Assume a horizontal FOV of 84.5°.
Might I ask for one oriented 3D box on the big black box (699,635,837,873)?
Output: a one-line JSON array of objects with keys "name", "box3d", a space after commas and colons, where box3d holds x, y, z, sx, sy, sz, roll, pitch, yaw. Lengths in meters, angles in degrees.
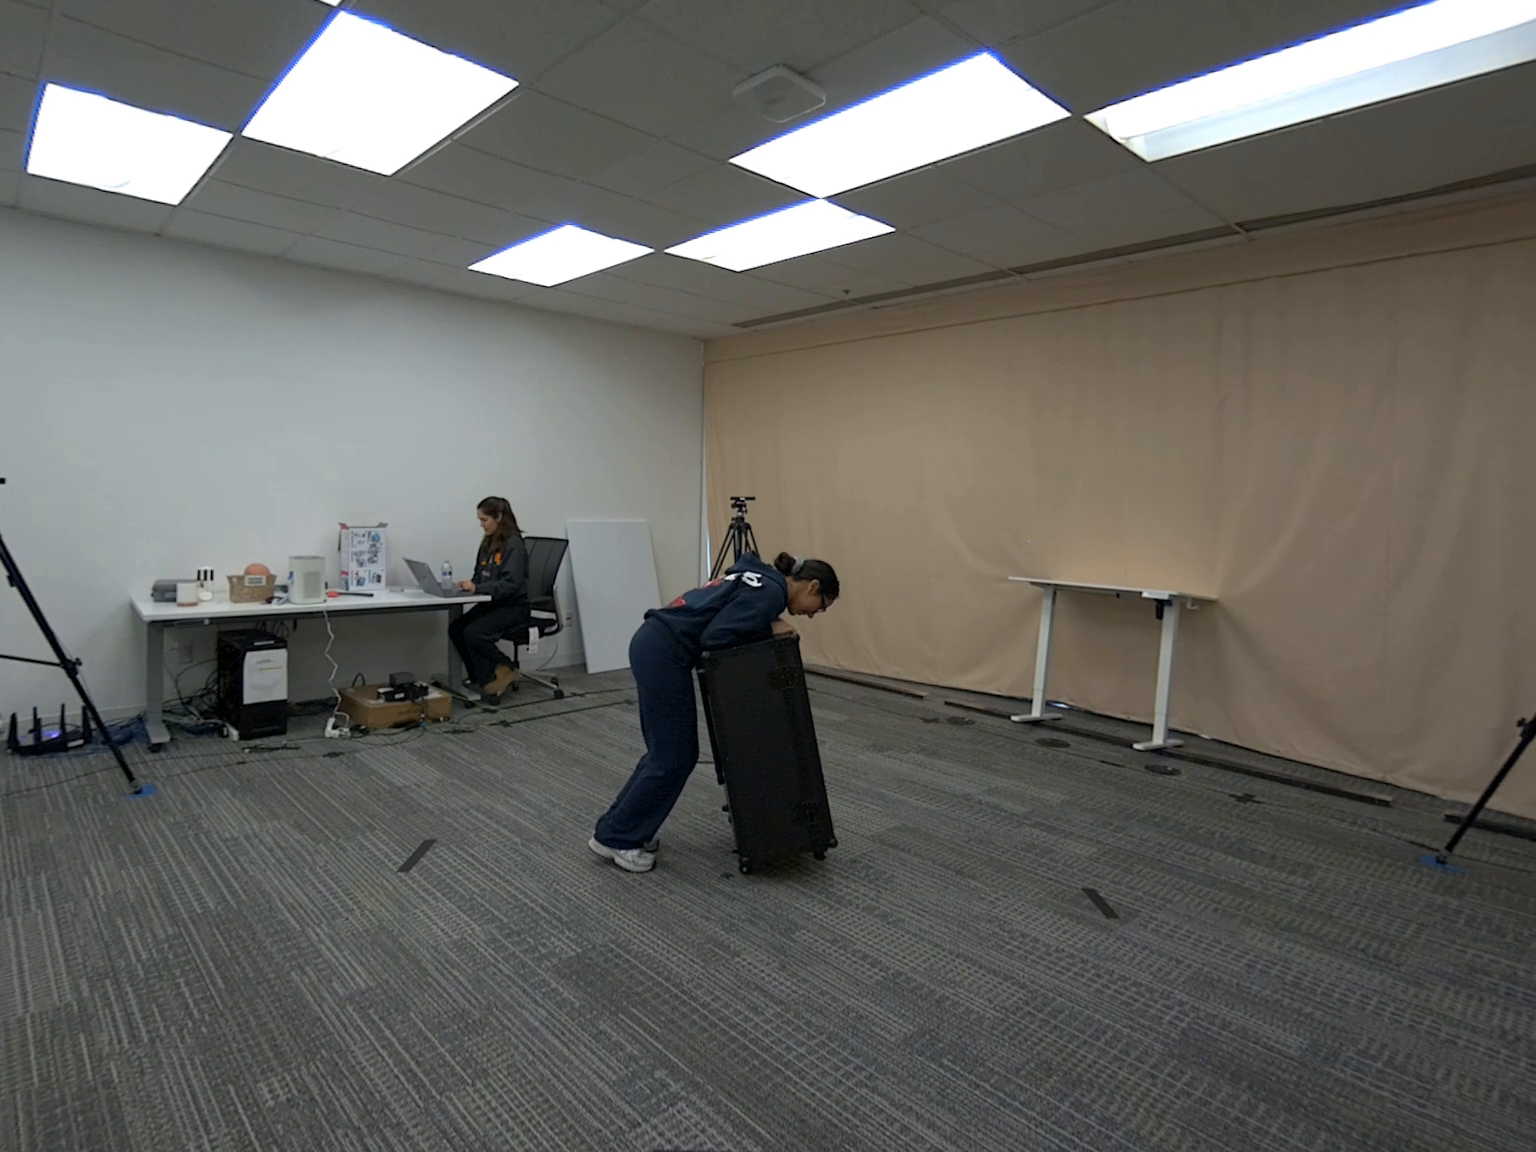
[{"name": "big black box", "box3d": [-0.034, 0.653, 3.256, 0.395, 0.860, 0.524, -11, 2, -5]}]
